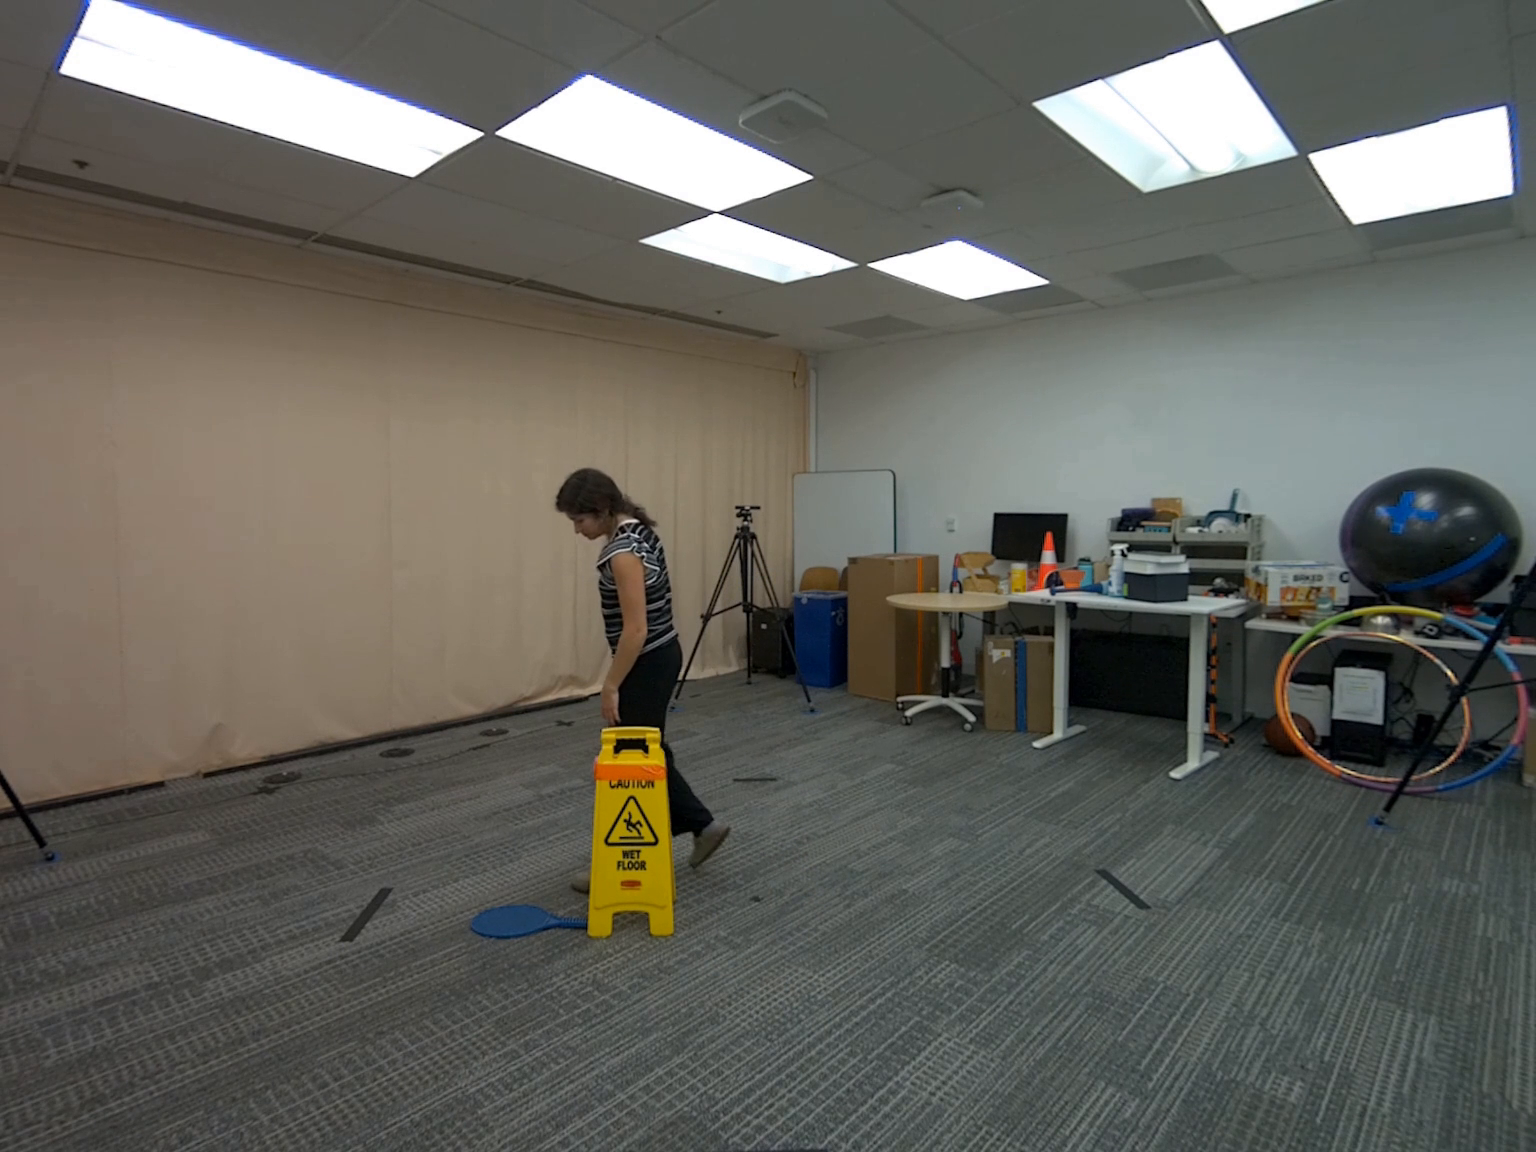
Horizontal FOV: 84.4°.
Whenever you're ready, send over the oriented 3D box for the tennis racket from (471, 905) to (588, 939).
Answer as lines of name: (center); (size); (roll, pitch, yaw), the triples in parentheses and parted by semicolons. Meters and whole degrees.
tennis racket: (-0.778, 1.152, 2.808); (0.437, 0.031, 0.212); (-1, 5, 8)
